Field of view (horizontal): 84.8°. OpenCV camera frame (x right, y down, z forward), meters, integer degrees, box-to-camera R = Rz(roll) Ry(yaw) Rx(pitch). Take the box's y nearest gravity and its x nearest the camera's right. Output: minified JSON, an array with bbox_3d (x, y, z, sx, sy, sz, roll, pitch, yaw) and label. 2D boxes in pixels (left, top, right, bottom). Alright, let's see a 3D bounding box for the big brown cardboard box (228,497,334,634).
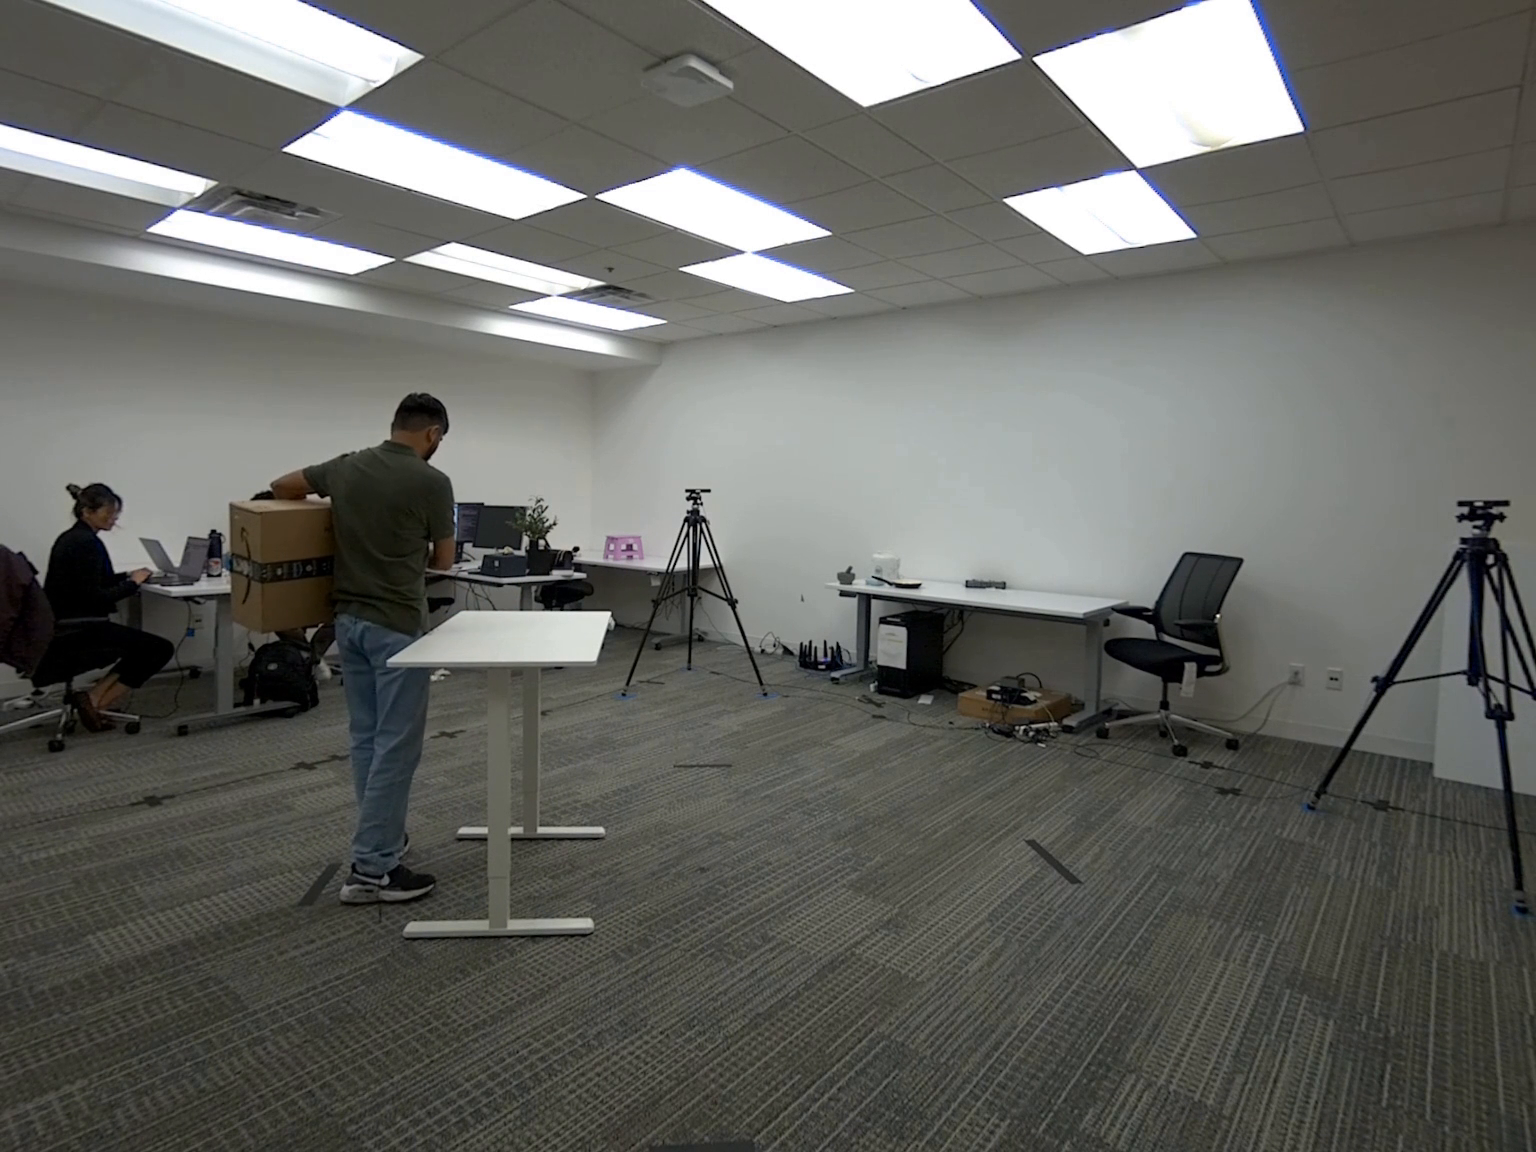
[{"bbox_3d":[-1.614,-0.062,3.068,0.241,0.414,0.573,11,11,34],"label":"big brown cardboard box"}]
